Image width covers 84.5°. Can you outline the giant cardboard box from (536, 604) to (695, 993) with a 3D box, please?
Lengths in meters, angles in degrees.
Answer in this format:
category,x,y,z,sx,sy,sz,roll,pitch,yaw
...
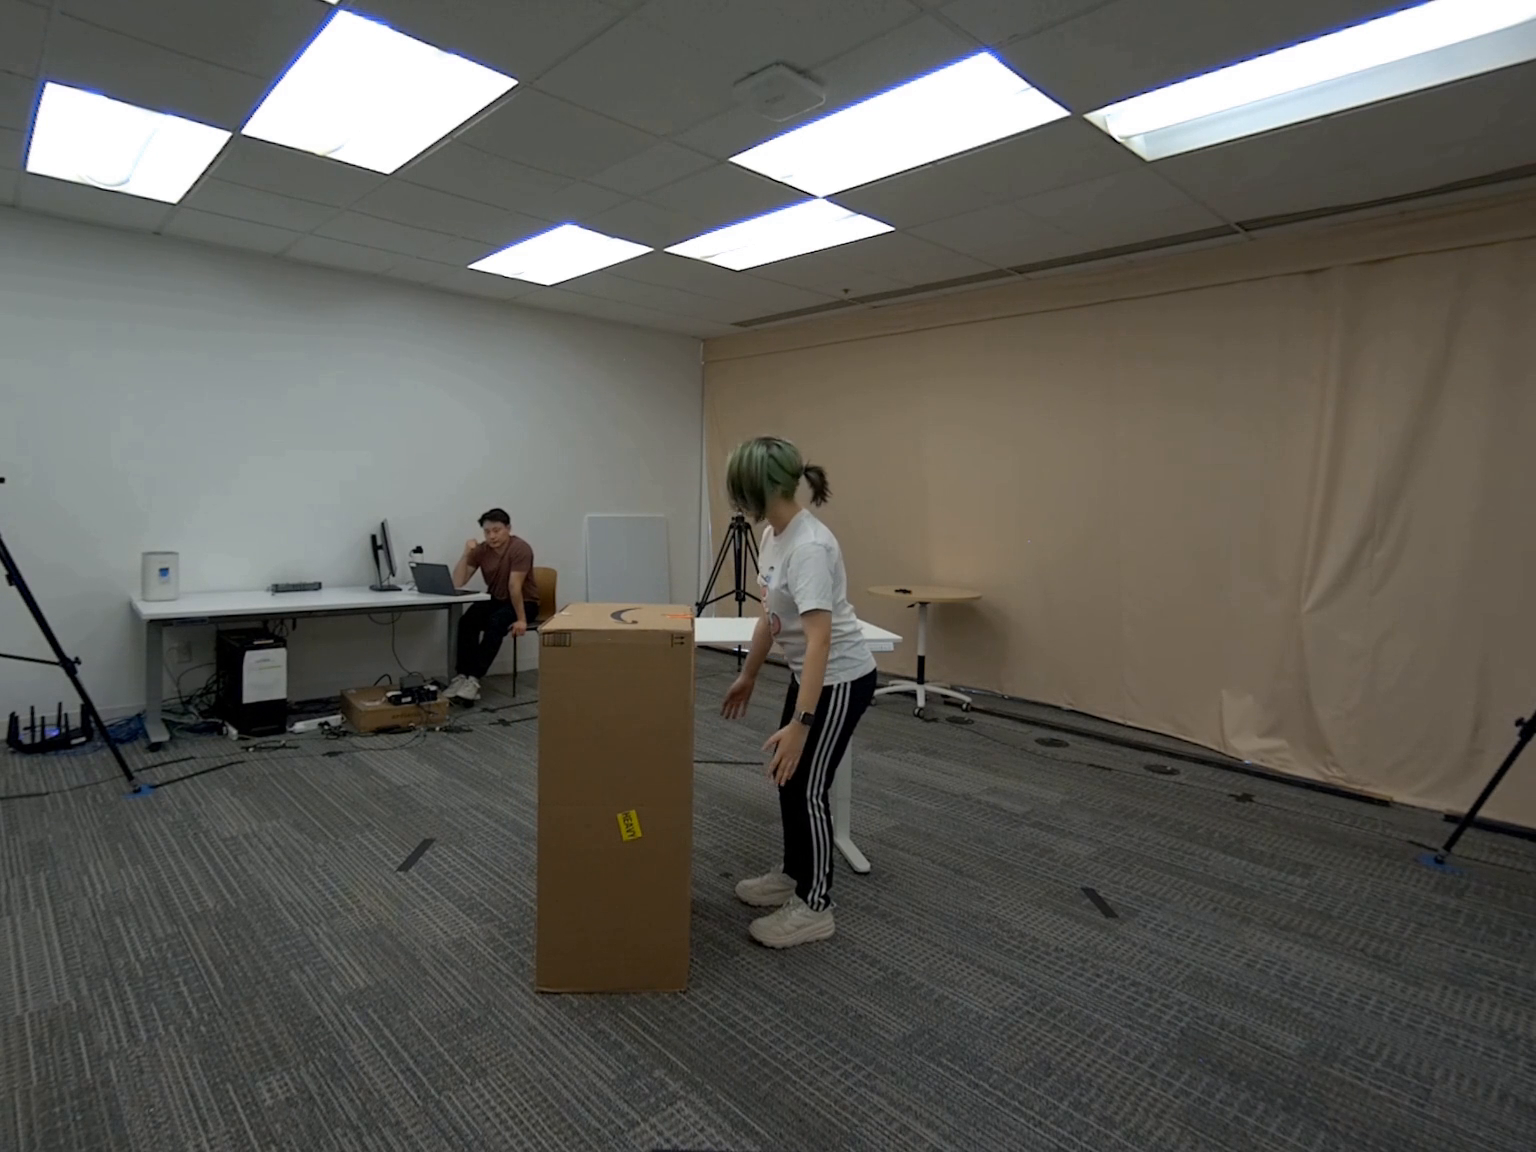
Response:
category,x,y,z,sx,sy,sz,roll,pitch,yaw
giant cardboard box,-0.455,0.636,2.606,0.445,1.025,0.587,0,3,-5
